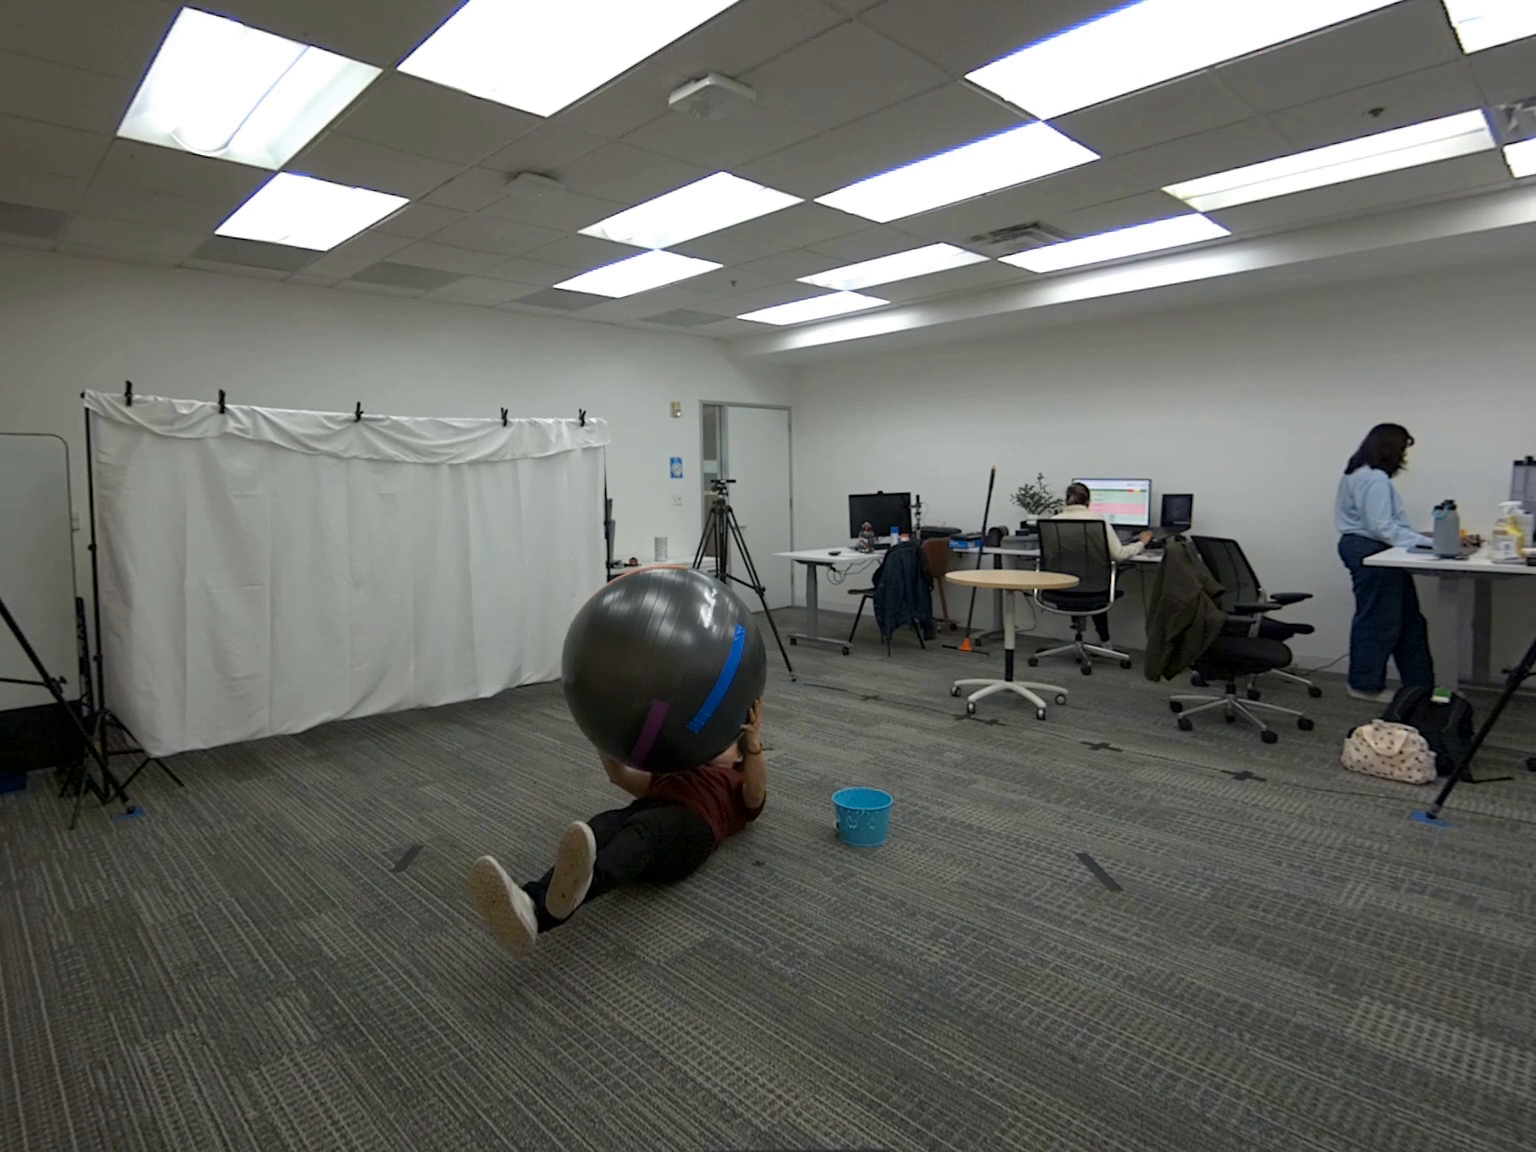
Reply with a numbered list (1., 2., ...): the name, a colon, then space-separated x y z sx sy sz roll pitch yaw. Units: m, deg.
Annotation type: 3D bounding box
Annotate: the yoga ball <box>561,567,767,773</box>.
1. yoga ball: -0.387 0.342 3.184 0.757 0.755 0.762 -1 5 -2
